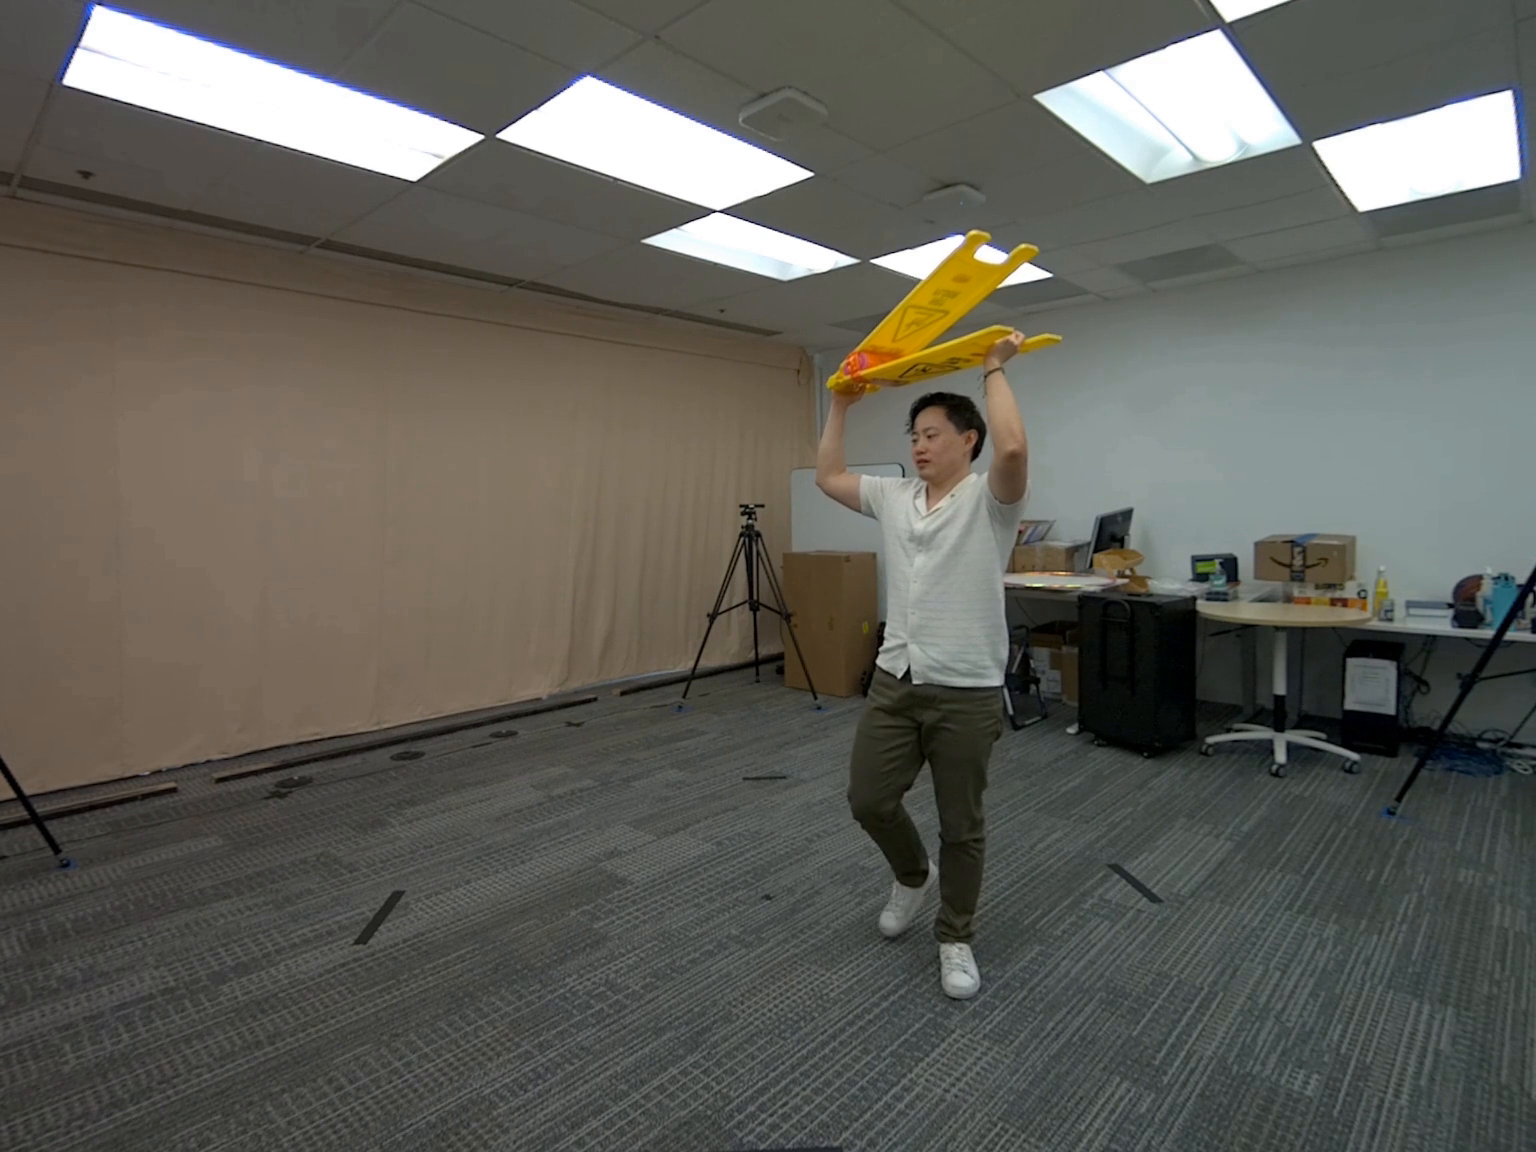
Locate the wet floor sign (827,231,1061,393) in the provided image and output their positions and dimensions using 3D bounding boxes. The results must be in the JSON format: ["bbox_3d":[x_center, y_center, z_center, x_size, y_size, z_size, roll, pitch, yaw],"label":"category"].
[{"bbox_3d":[0.443,-0.661,2.393,0.274,0.292,0.660,-3,-12,-37],"label":"wet floor sign"}]
